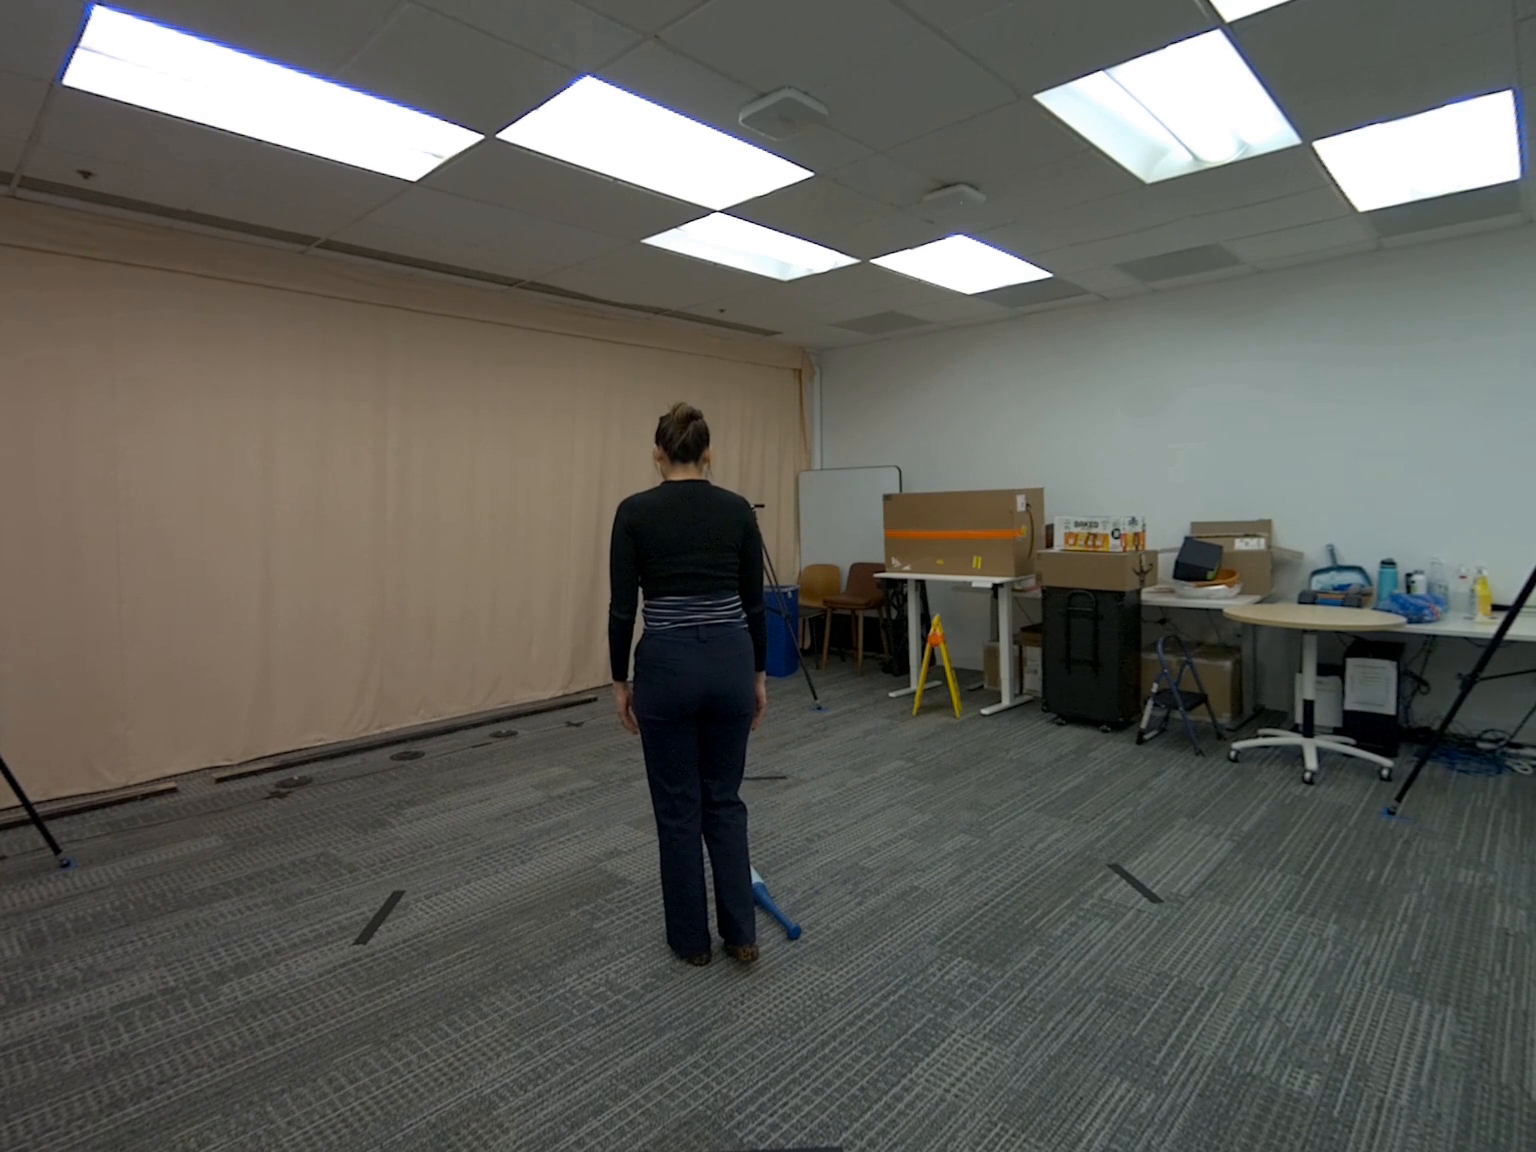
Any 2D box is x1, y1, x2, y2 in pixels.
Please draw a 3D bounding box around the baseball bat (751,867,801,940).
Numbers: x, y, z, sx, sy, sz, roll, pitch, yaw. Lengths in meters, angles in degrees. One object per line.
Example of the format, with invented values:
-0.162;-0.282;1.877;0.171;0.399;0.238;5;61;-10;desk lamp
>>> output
-0.024;1.111;2.933;0.087;0.088;0.558;-3;9;-24;baseball bat
